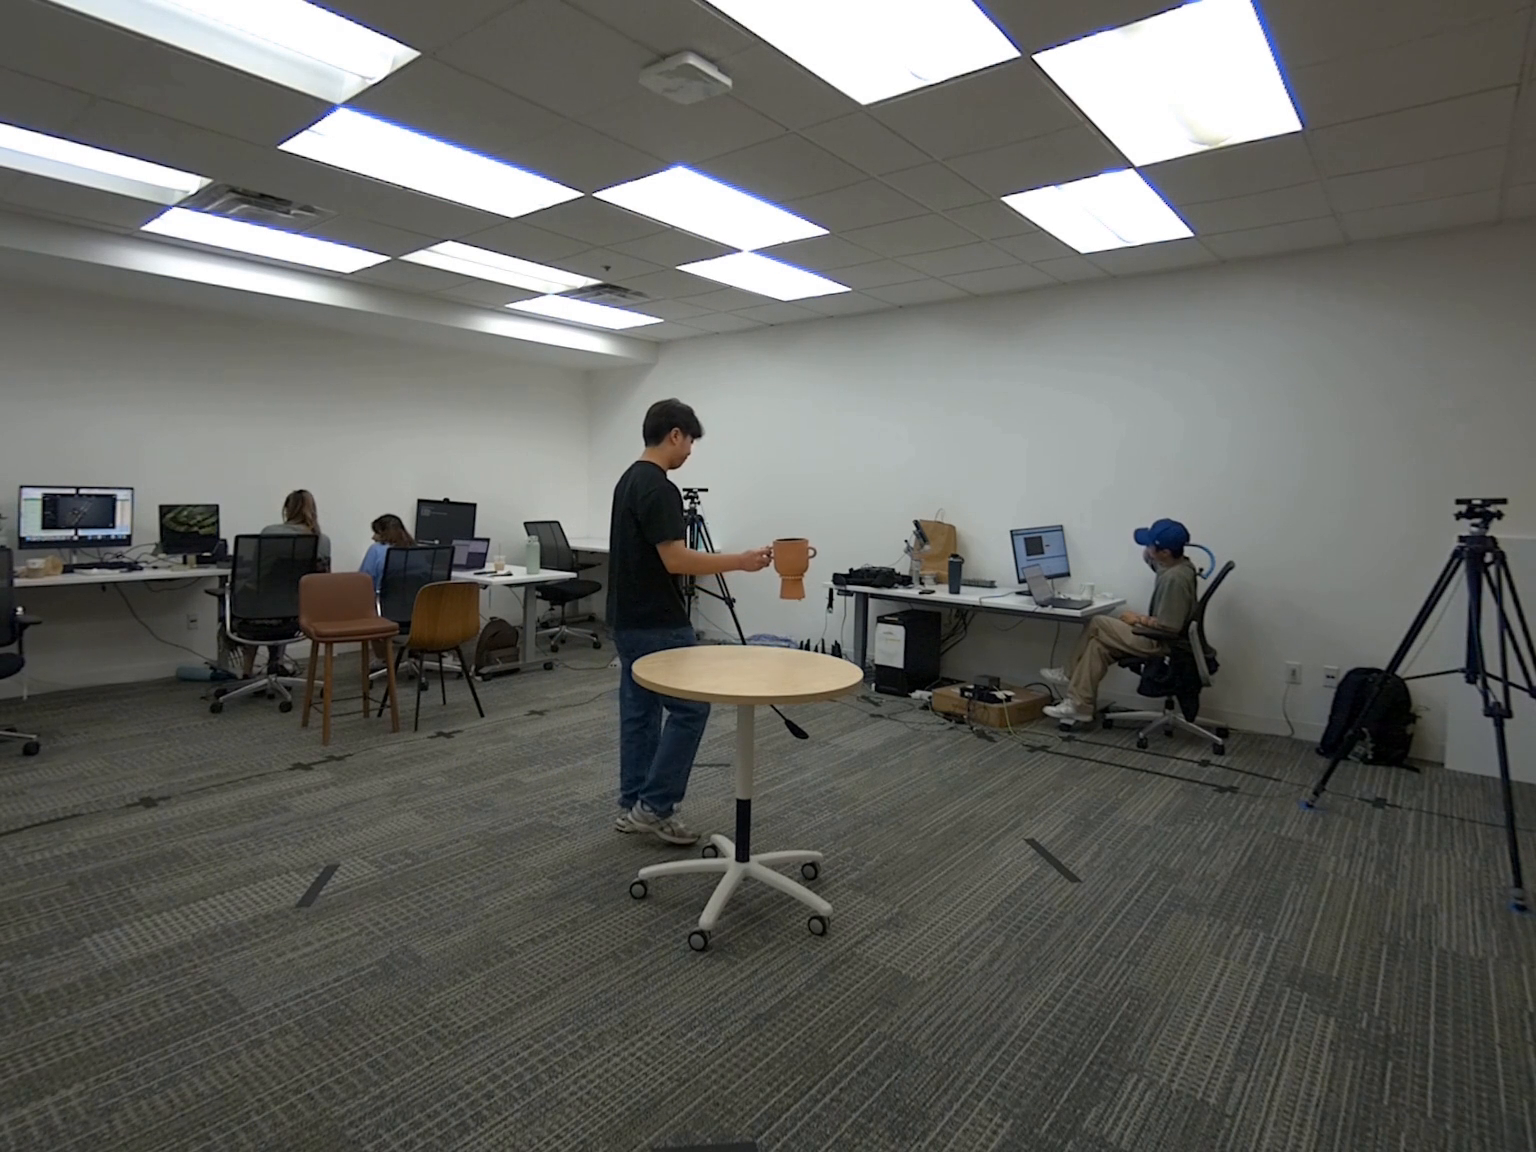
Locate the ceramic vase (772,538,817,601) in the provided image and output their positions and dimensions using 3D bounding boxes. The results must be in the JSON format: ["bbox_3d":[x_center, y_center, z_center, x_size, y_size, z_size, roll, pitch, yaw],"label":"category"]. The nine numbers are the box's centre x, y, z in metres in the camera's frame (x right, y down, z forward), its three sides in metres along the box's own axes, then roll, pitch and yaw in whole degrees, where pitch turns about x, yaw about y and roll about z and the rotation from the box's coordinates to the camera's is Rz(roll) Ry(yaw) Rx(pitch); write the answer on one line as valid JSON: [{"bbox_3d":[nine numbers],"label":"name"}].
[{"bbox_3d":[0.084,-0.026,3.192,0.131,0.218,0.164,-2,7,-28],"label":"ceramic vase"}]
